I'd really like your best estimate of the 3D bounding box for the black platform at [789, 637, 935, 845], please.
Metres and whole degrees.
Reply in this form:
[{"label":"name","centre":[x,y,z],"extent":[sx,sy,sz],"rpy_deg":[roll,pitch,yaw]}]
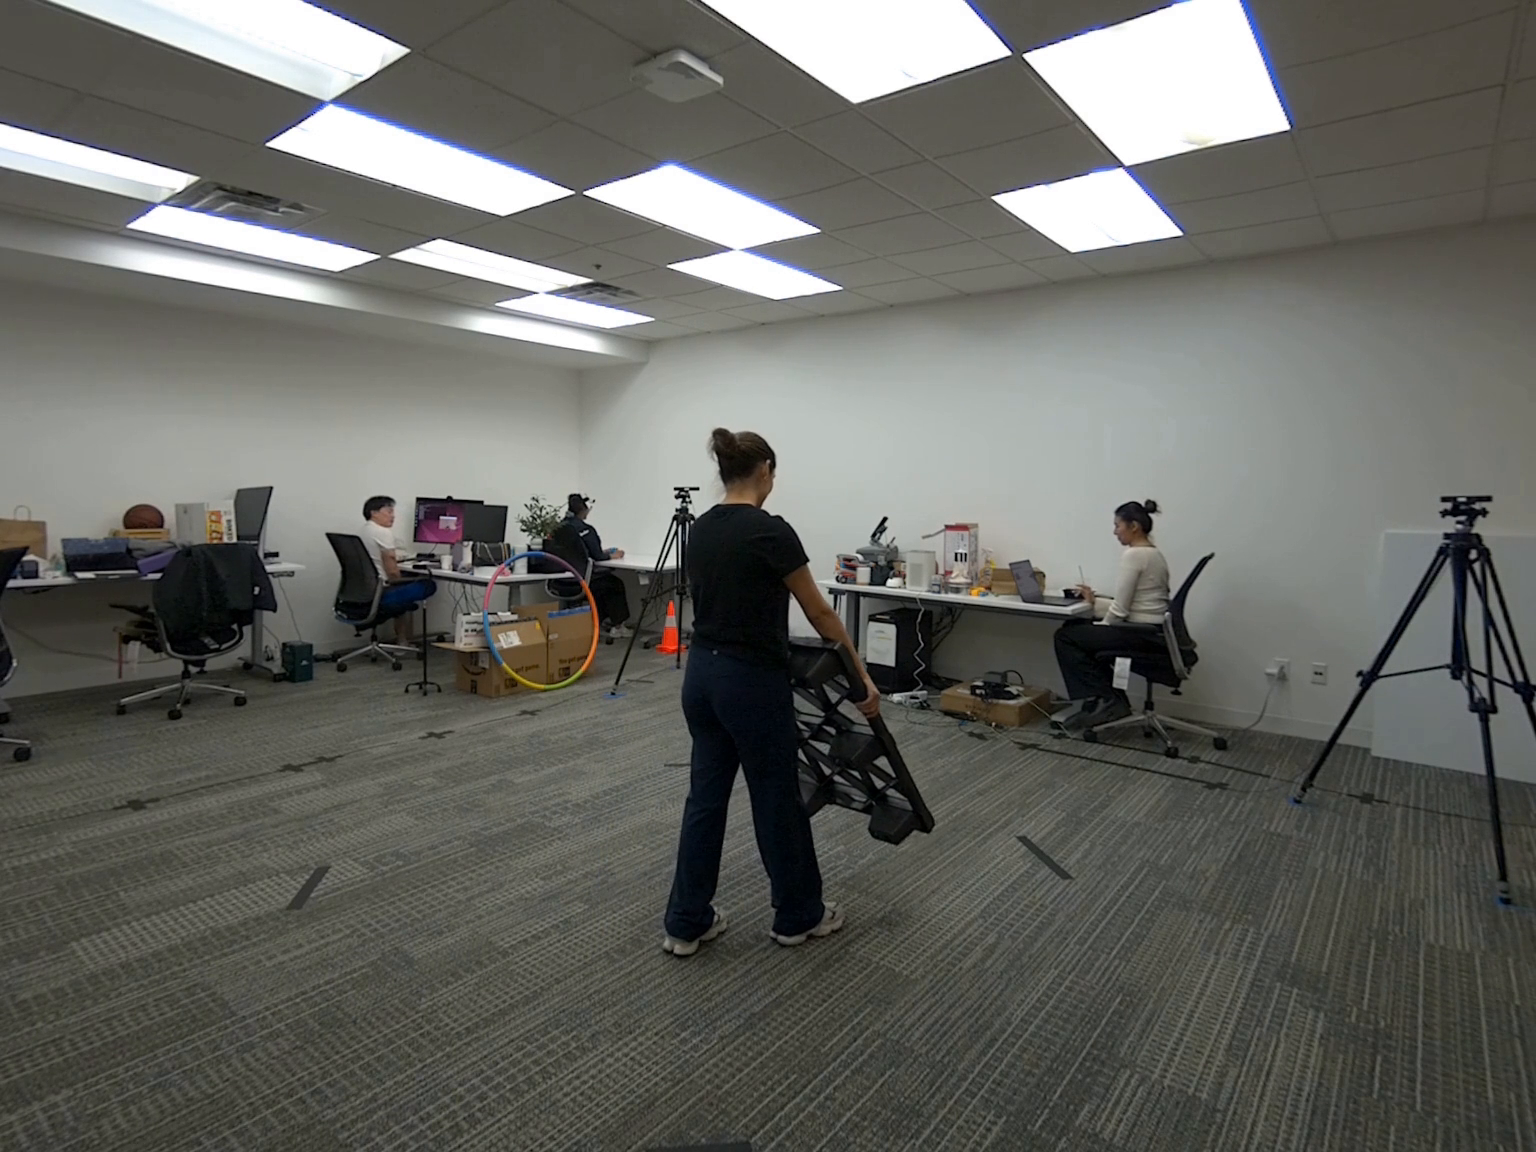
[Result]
[{"label":"black platform","centre":[0.148,0.521,2.809],"extent":[0.624,0.783,0.143],"rpy_deg":[0,35,47]}]
